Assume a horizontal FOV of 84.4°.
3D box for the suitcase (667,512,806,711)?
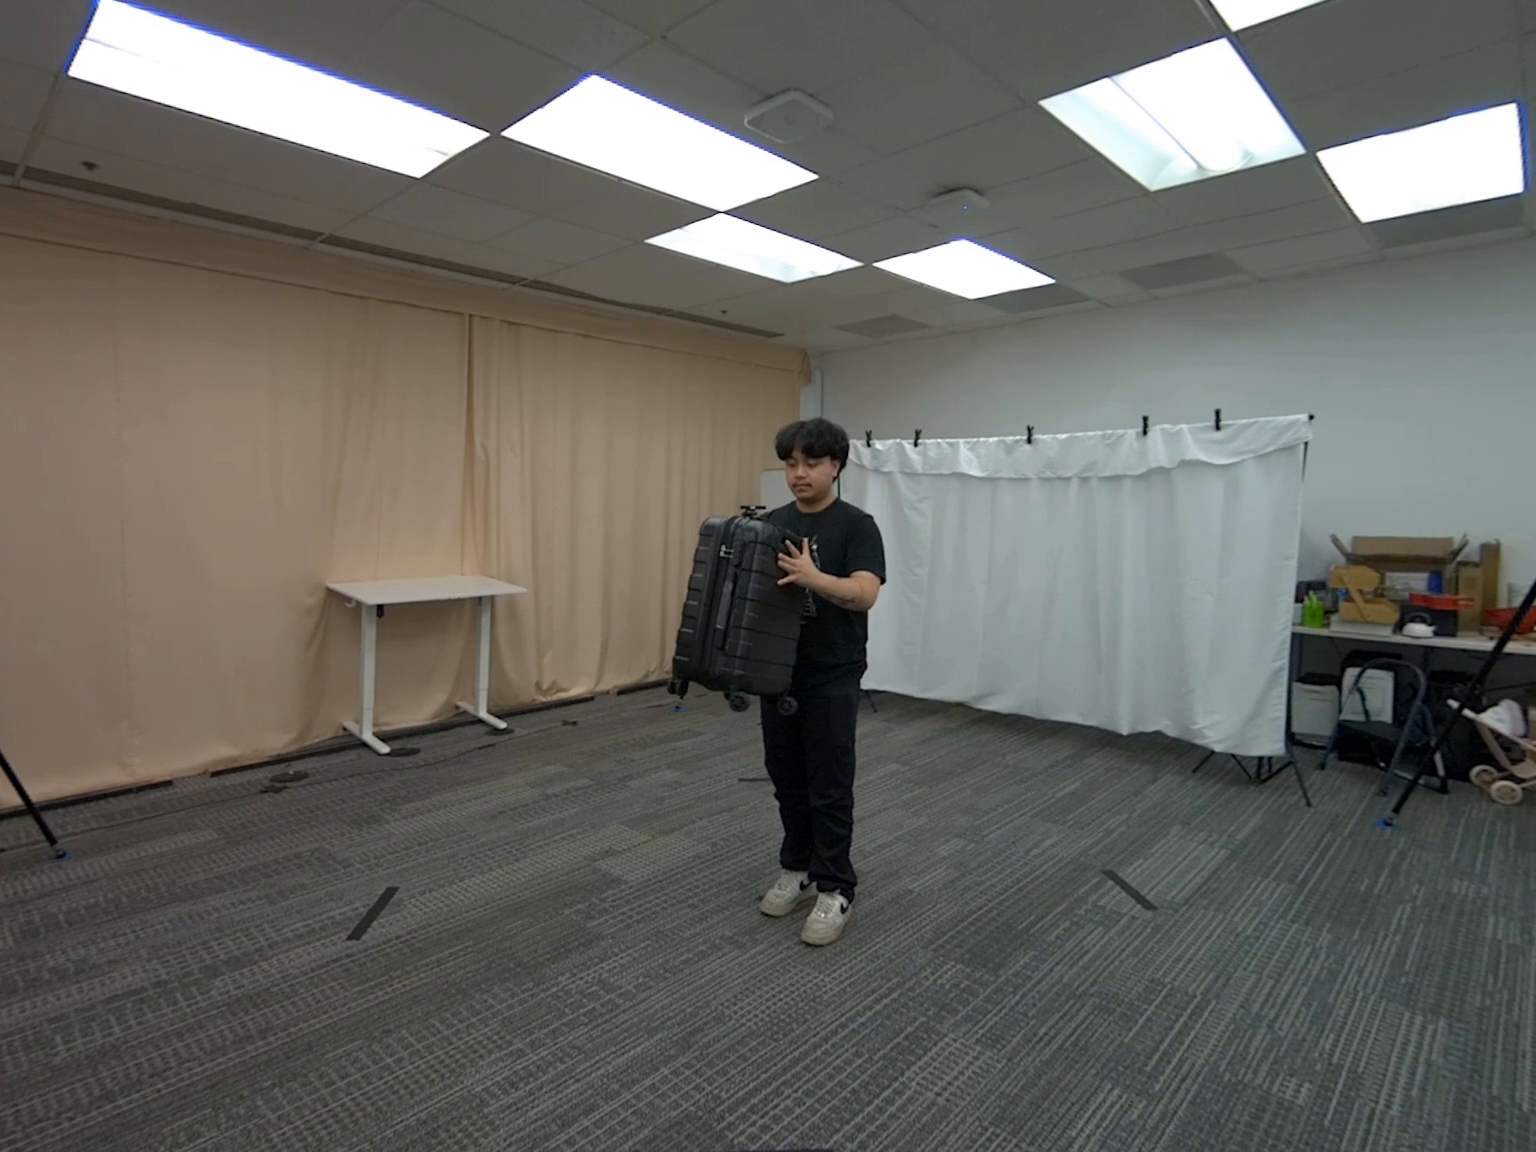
[{"bbox_3d":[-0.064,0.108,2.500,0.256,0.551,0.363,5,-7,32],"label":"suitcase"}]
